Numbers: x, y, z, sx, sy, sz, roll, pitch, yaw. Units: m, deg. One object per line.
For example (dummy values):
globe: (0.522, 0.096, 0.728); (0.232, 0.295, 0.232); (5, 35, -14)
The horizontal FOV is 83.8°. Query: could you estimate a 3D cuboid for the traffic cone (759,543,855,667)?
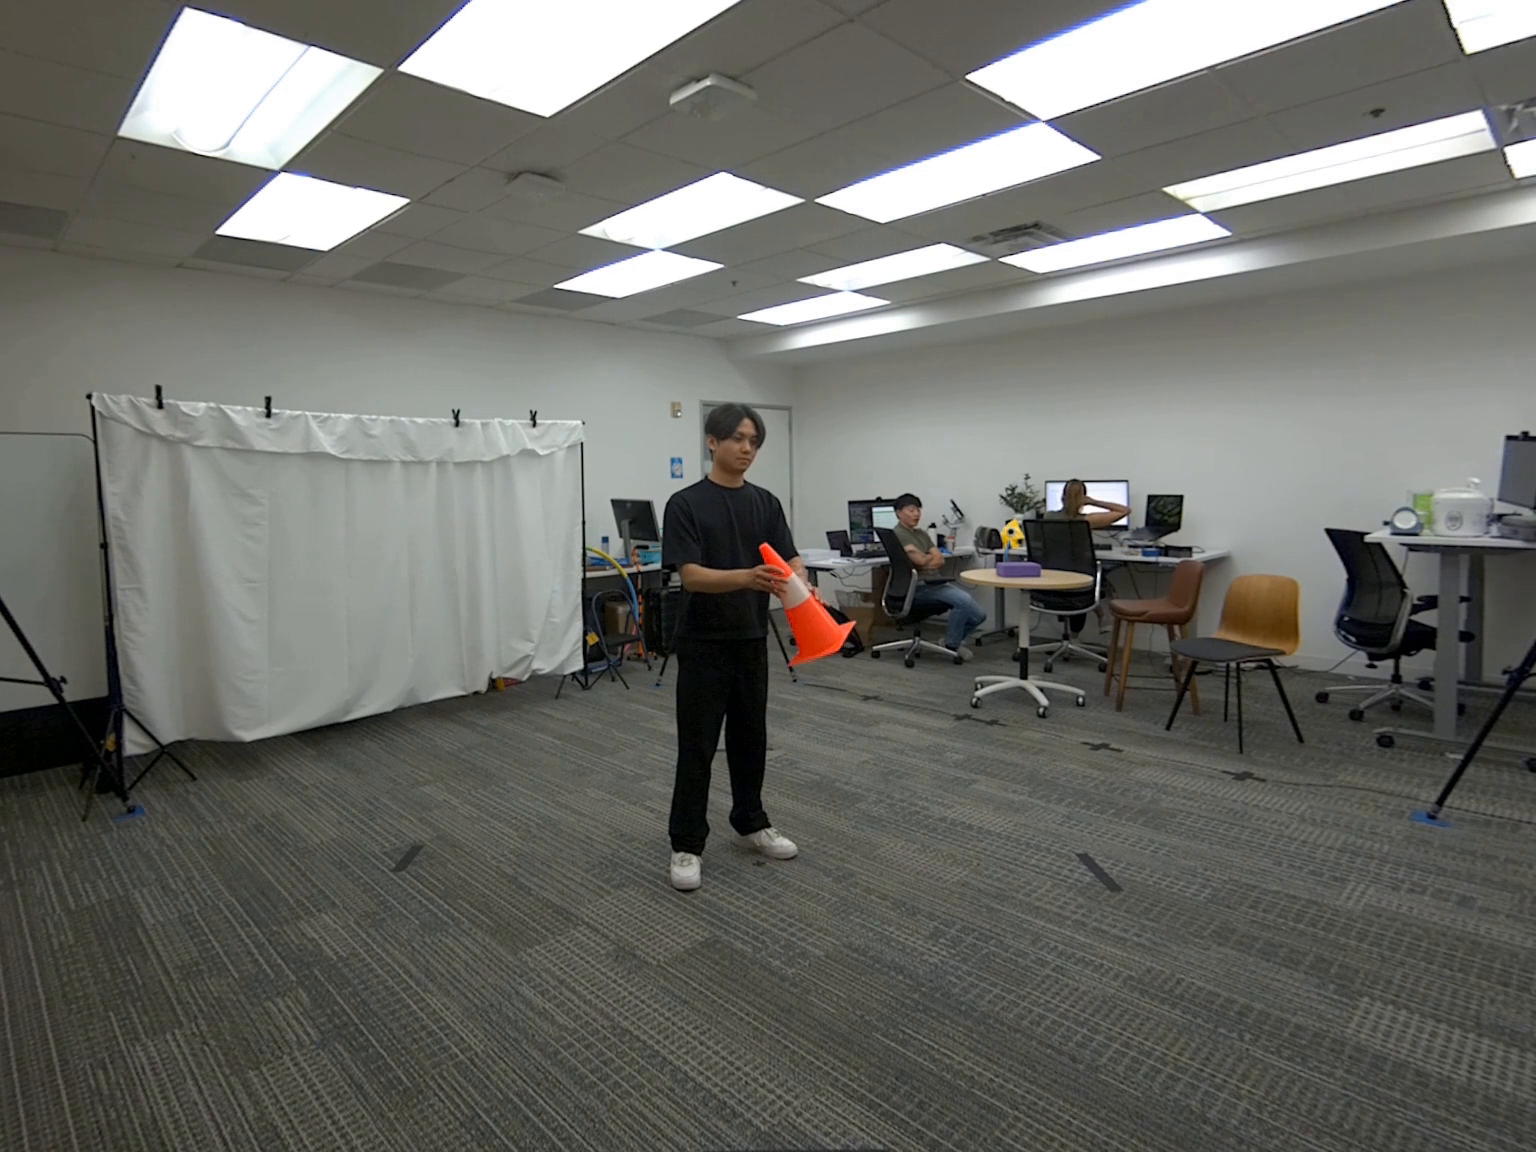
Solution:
traffic cone: (0.093, 0.067, 2.726); (0.208, 0.378, 0.203); (-21, 15, 37)
